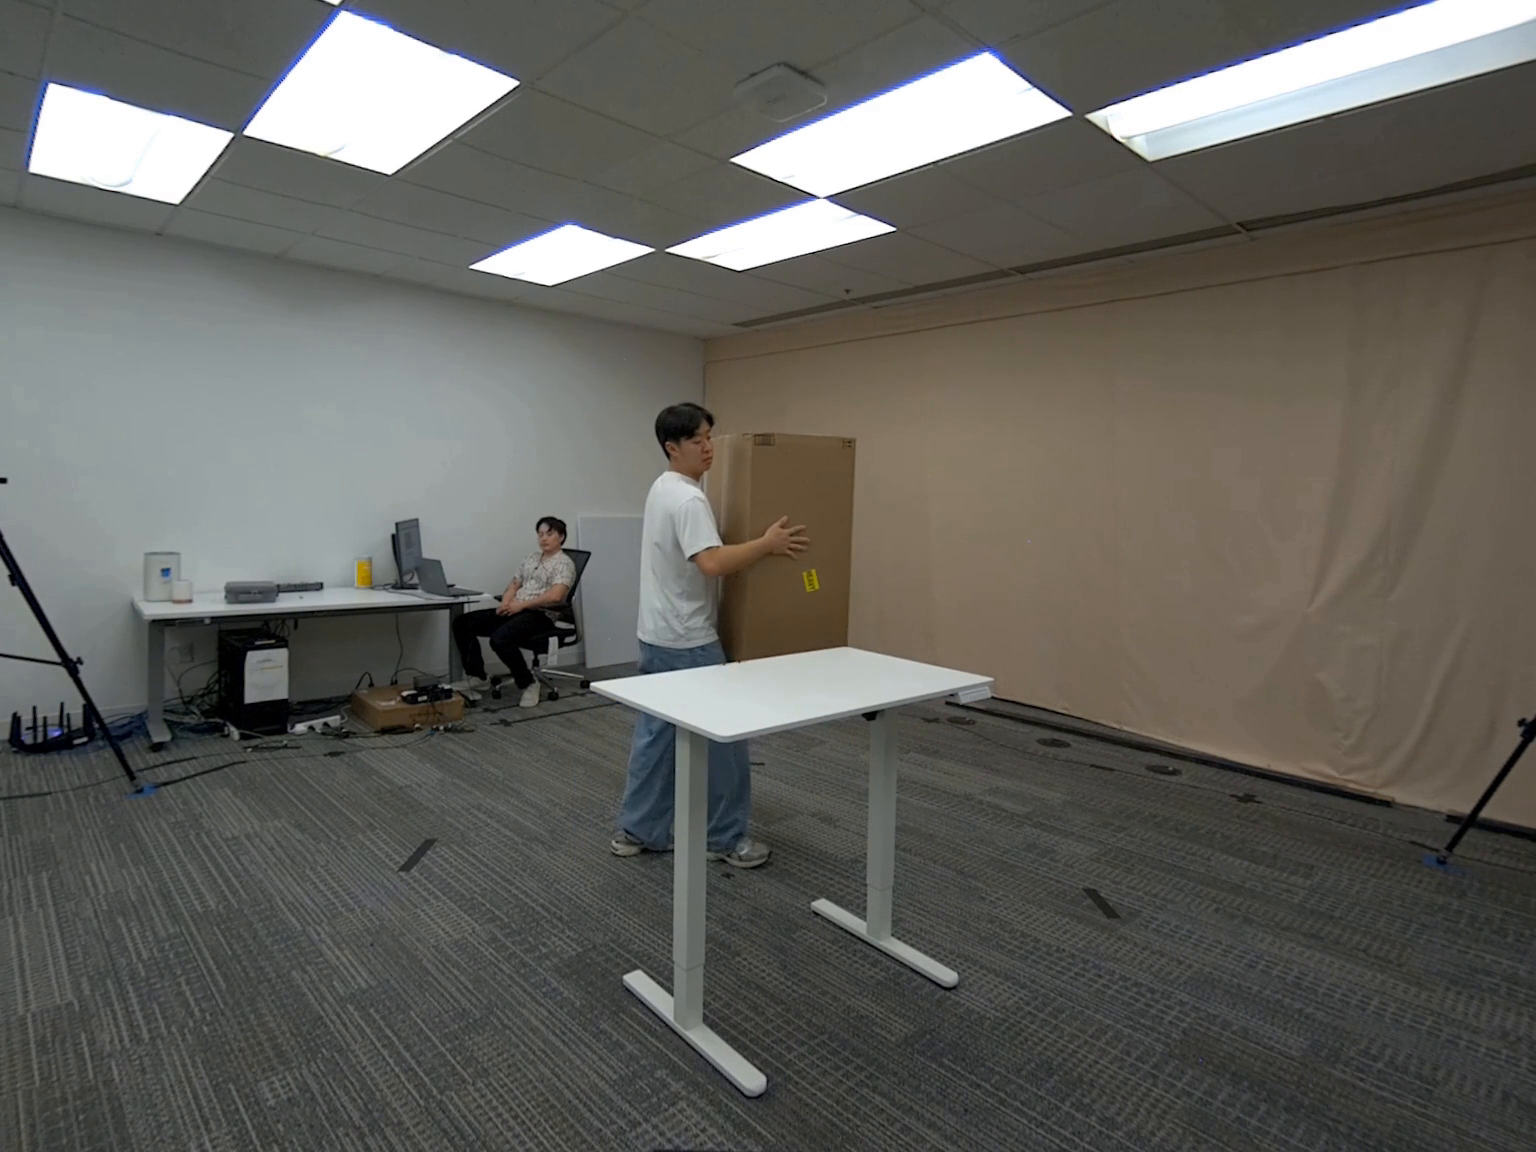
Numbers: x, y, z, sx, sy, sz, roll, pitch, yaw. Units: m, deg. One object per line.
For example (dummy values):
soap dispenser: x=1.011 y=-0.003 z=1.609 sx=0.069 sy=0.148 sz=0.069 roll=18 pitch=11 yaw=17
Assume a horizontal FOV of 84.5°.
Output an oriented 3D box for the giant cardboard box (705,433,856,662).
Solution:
giant cardboard box: x=0.021 y=-0.042 z=3.409 sx=0.420 sy=1.023 sz=0.587 roll=1 pitch=4 yaw=-18
